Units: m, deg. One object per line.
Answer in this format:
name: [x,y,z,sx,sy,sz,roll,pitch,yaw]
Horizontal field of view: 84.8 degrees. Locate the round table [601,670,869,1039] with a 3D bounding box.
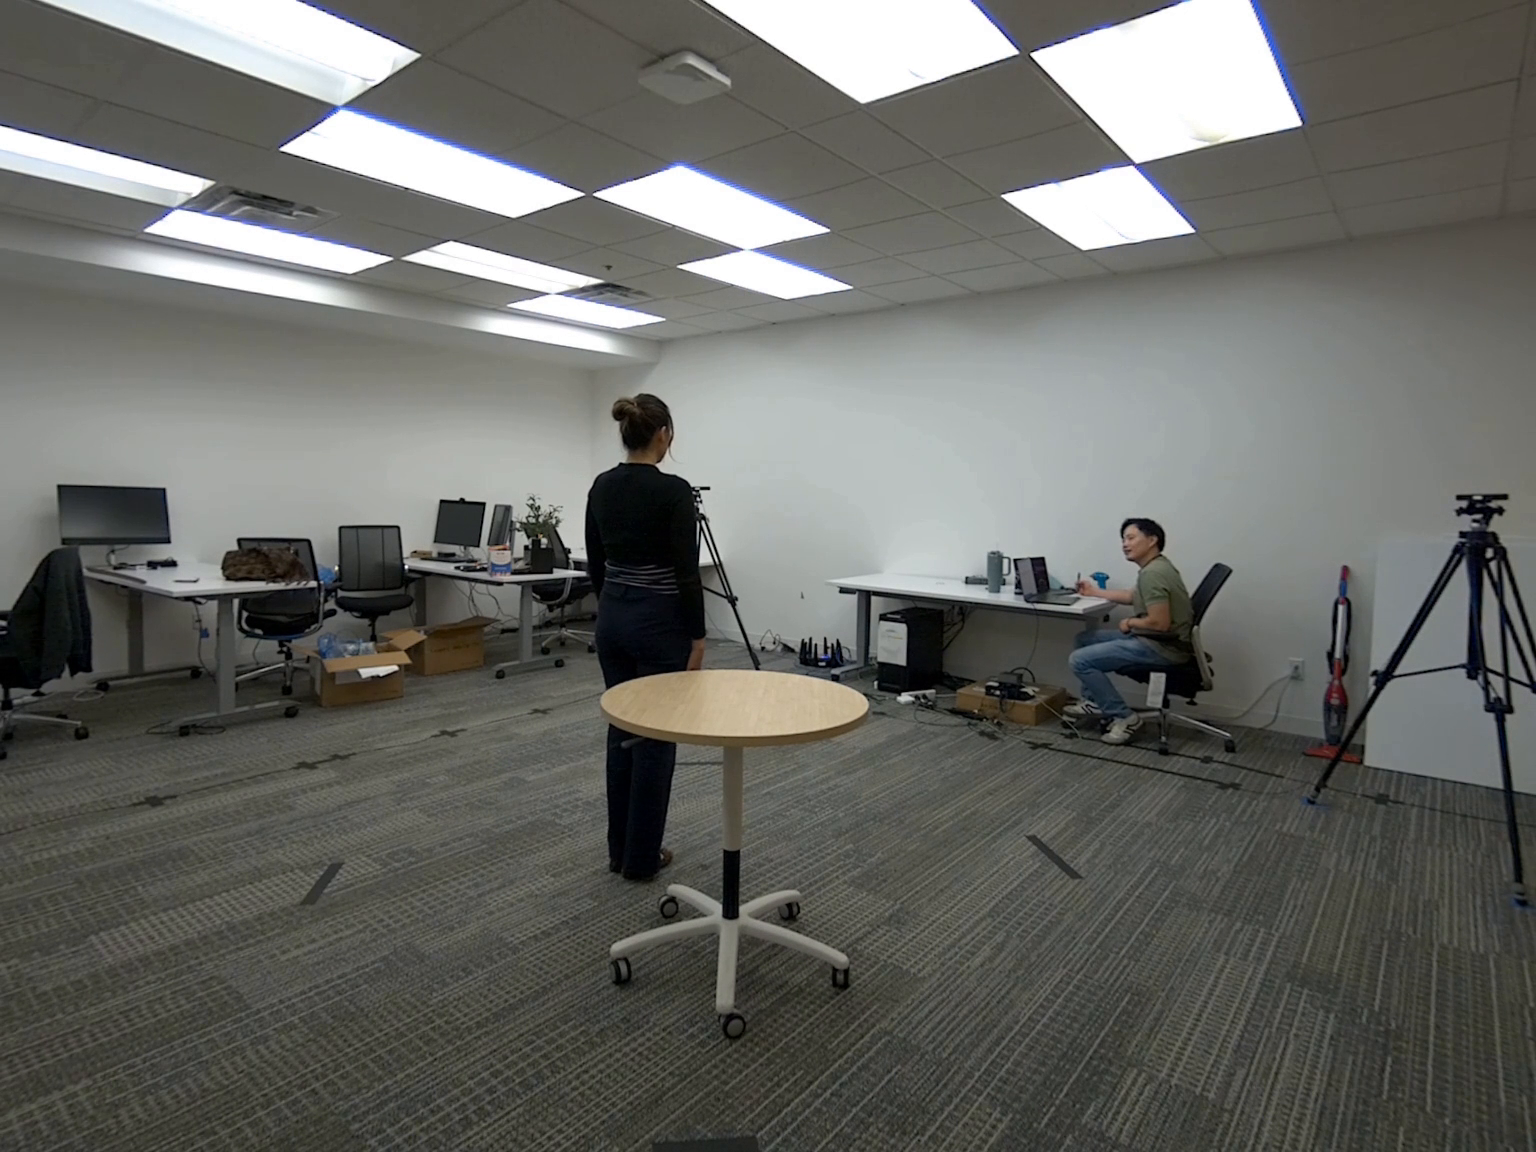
round table: [-0.109,0.741,2.468,0.763,0.791,0.768,1,5,-2]
